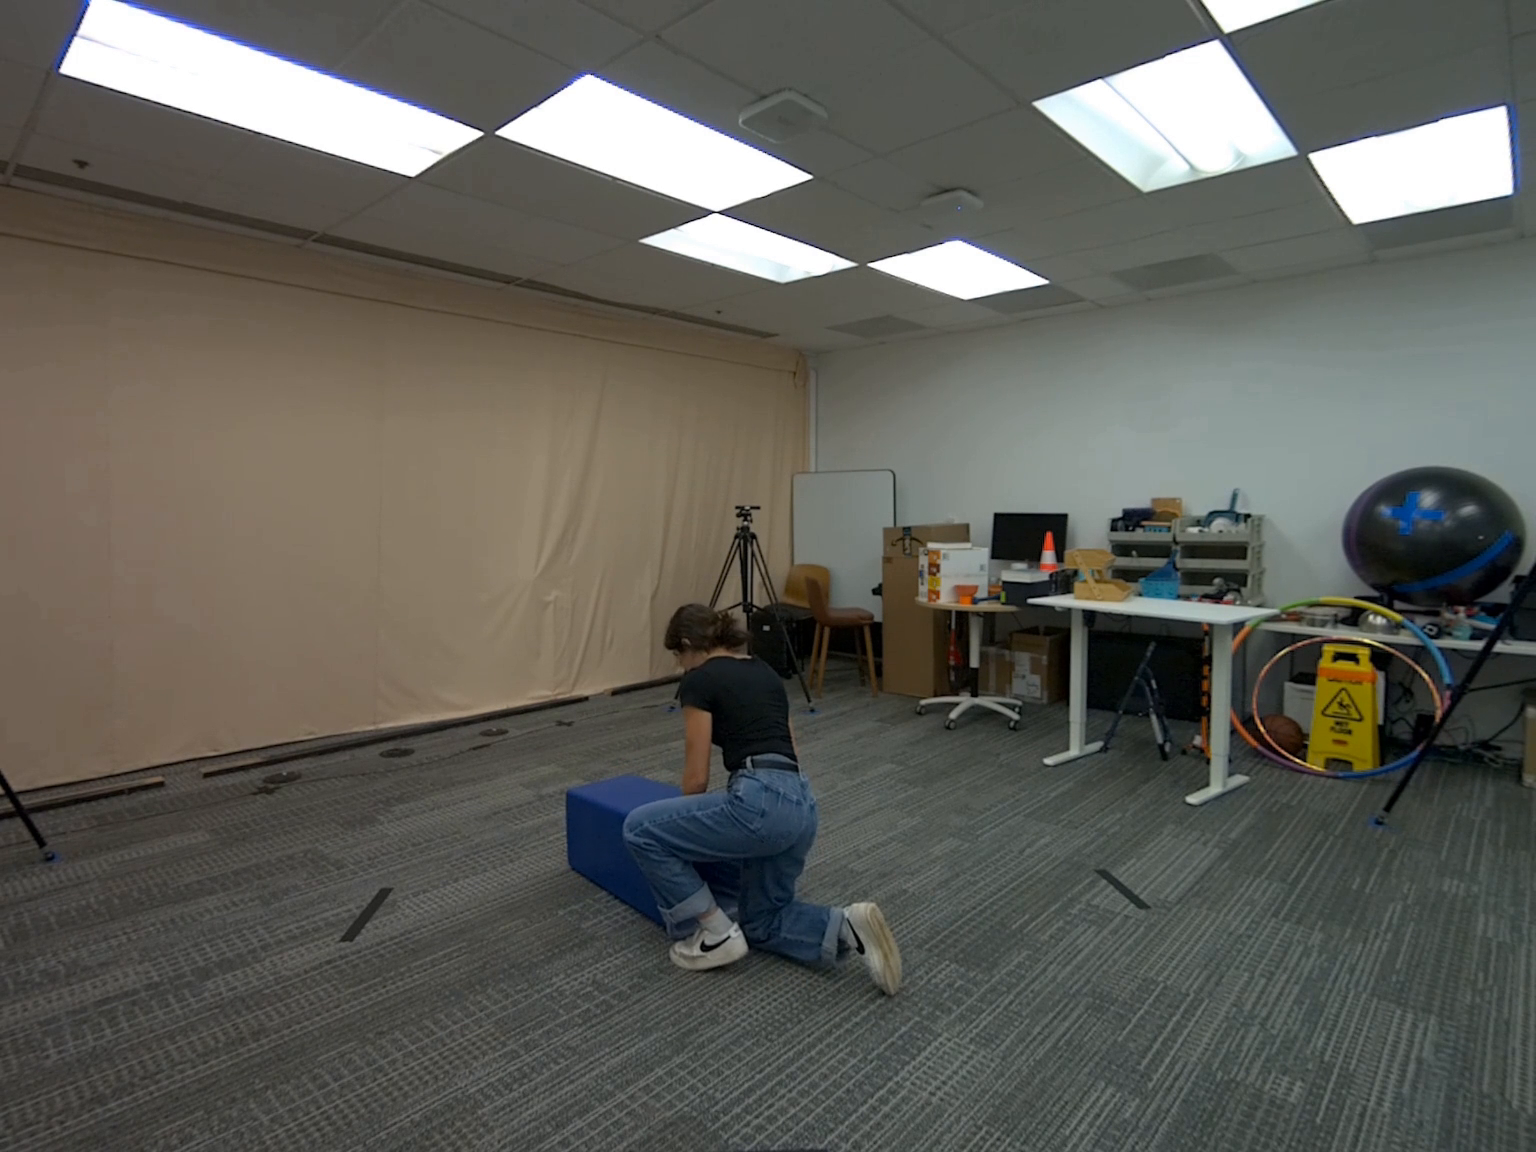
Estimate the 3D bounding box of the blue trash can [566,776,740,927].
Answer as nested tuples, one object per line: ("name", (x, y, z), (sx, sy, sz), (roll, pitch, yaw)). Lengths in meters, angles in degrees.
("blue trash can", (-0.428, 0.978, 3.070), (0.363, 0.378, 0.736), (-4, 3, -43))
